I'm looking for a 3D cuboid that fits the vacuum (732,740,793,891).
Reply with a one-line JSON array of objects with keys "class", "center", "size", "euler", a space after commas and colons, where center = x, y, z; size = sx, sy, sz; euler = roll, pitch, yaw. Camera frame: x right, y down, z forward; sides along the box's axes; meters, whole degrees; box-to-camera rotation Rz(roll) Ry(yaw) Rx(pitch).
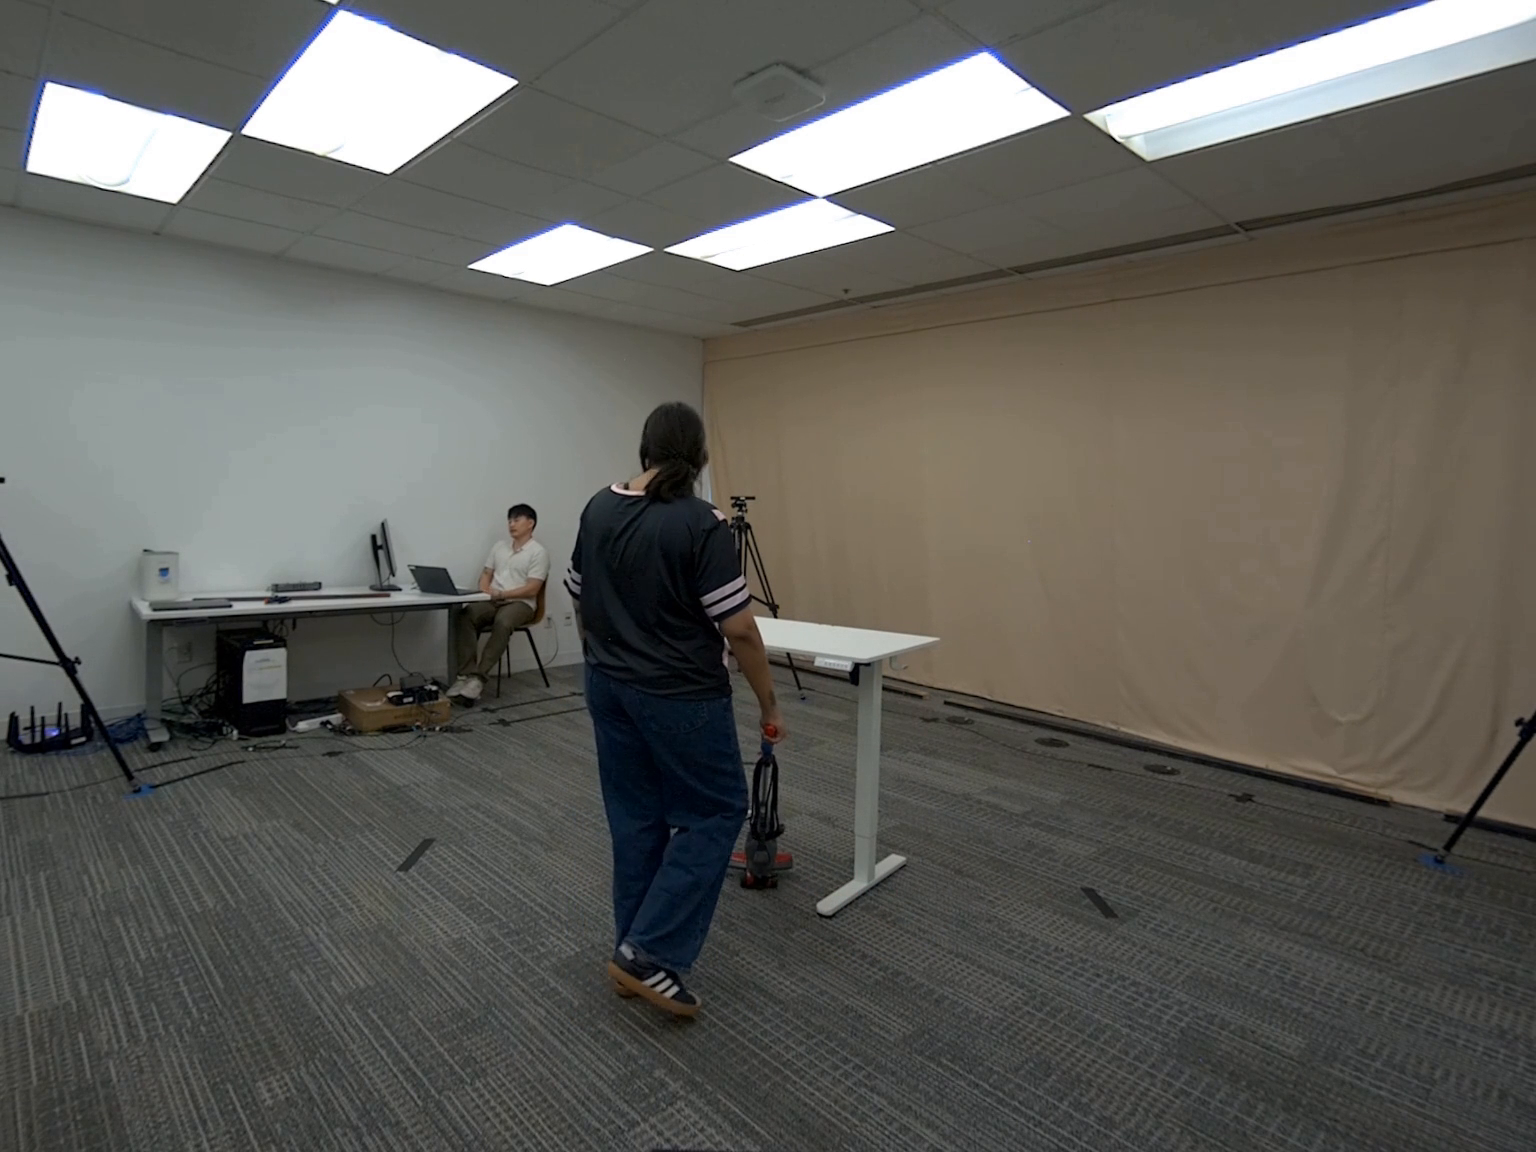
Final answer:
[{"class": "vacuum", "center": [-0.019, 0.765, 2.664], "size": [0.253, 0.147, 1.027], "euler": [3, -39, 0]}]
